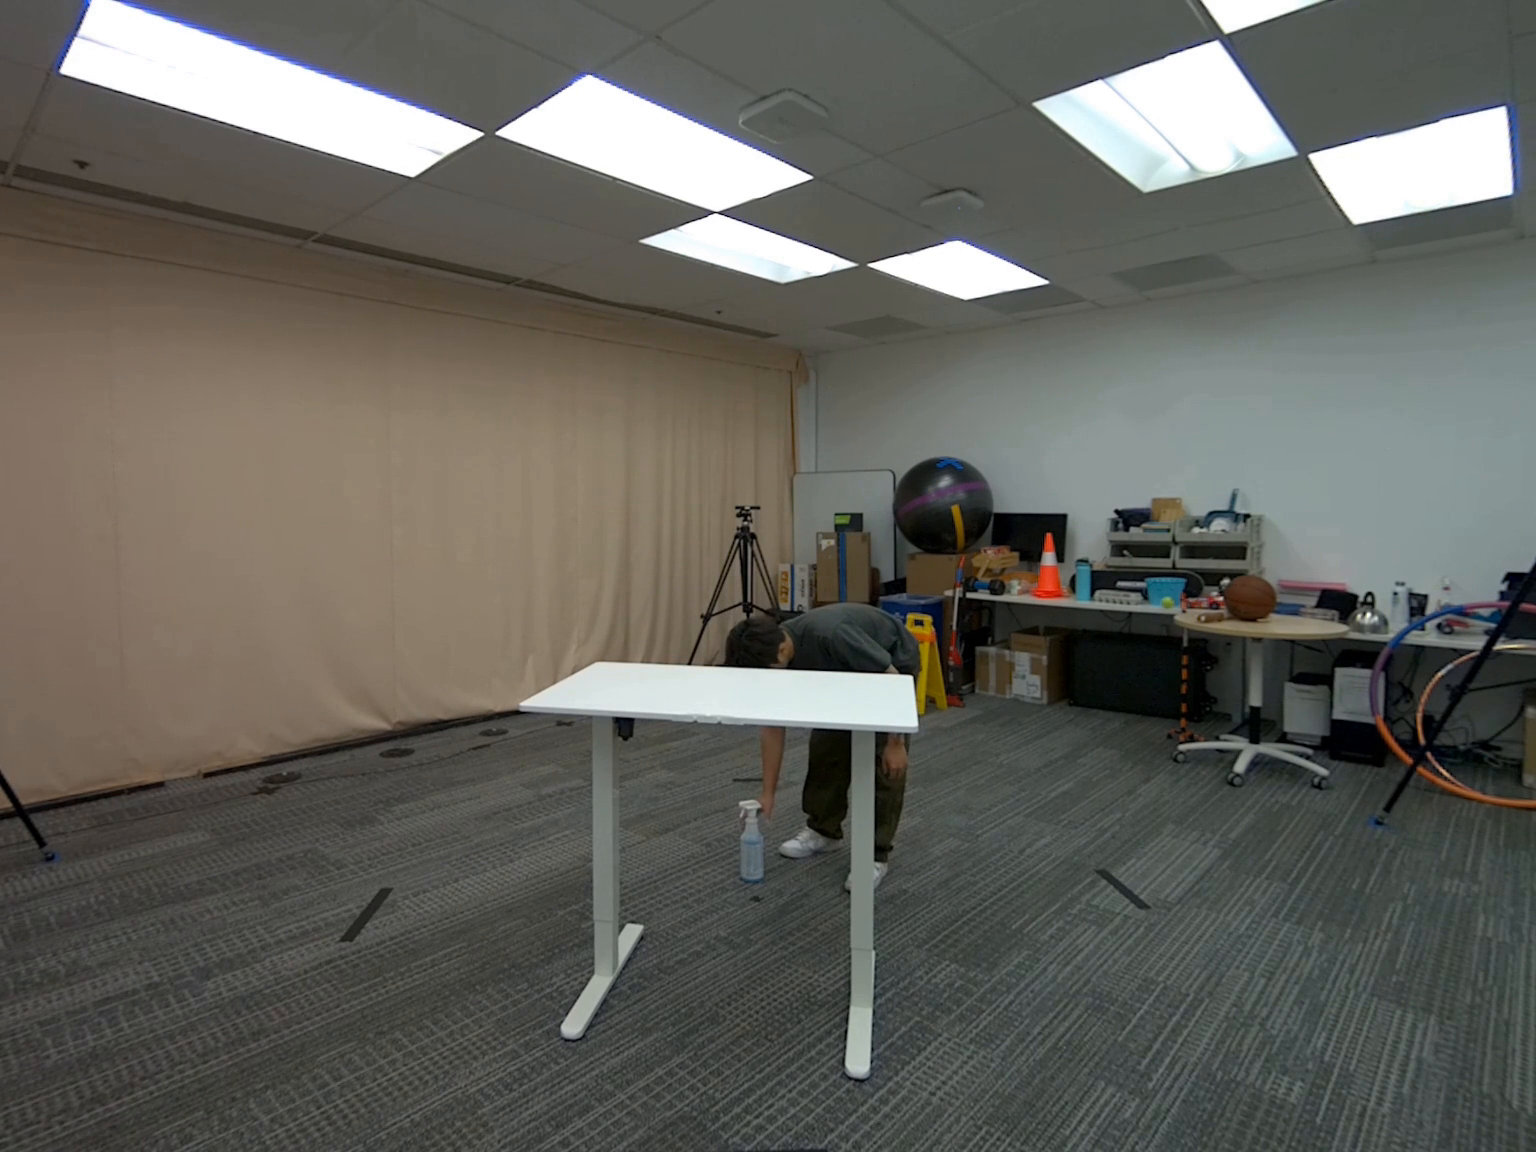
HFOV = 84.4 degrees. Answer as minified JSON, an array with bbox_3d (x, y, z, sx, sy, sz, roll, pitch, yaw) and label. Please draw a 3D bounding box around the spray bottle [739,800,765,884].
[{"bbox_3d":[-0.057,0.989,3.148,0.090,0.296,0.087,-3,4,-5],"label":"spray bottle"}]
